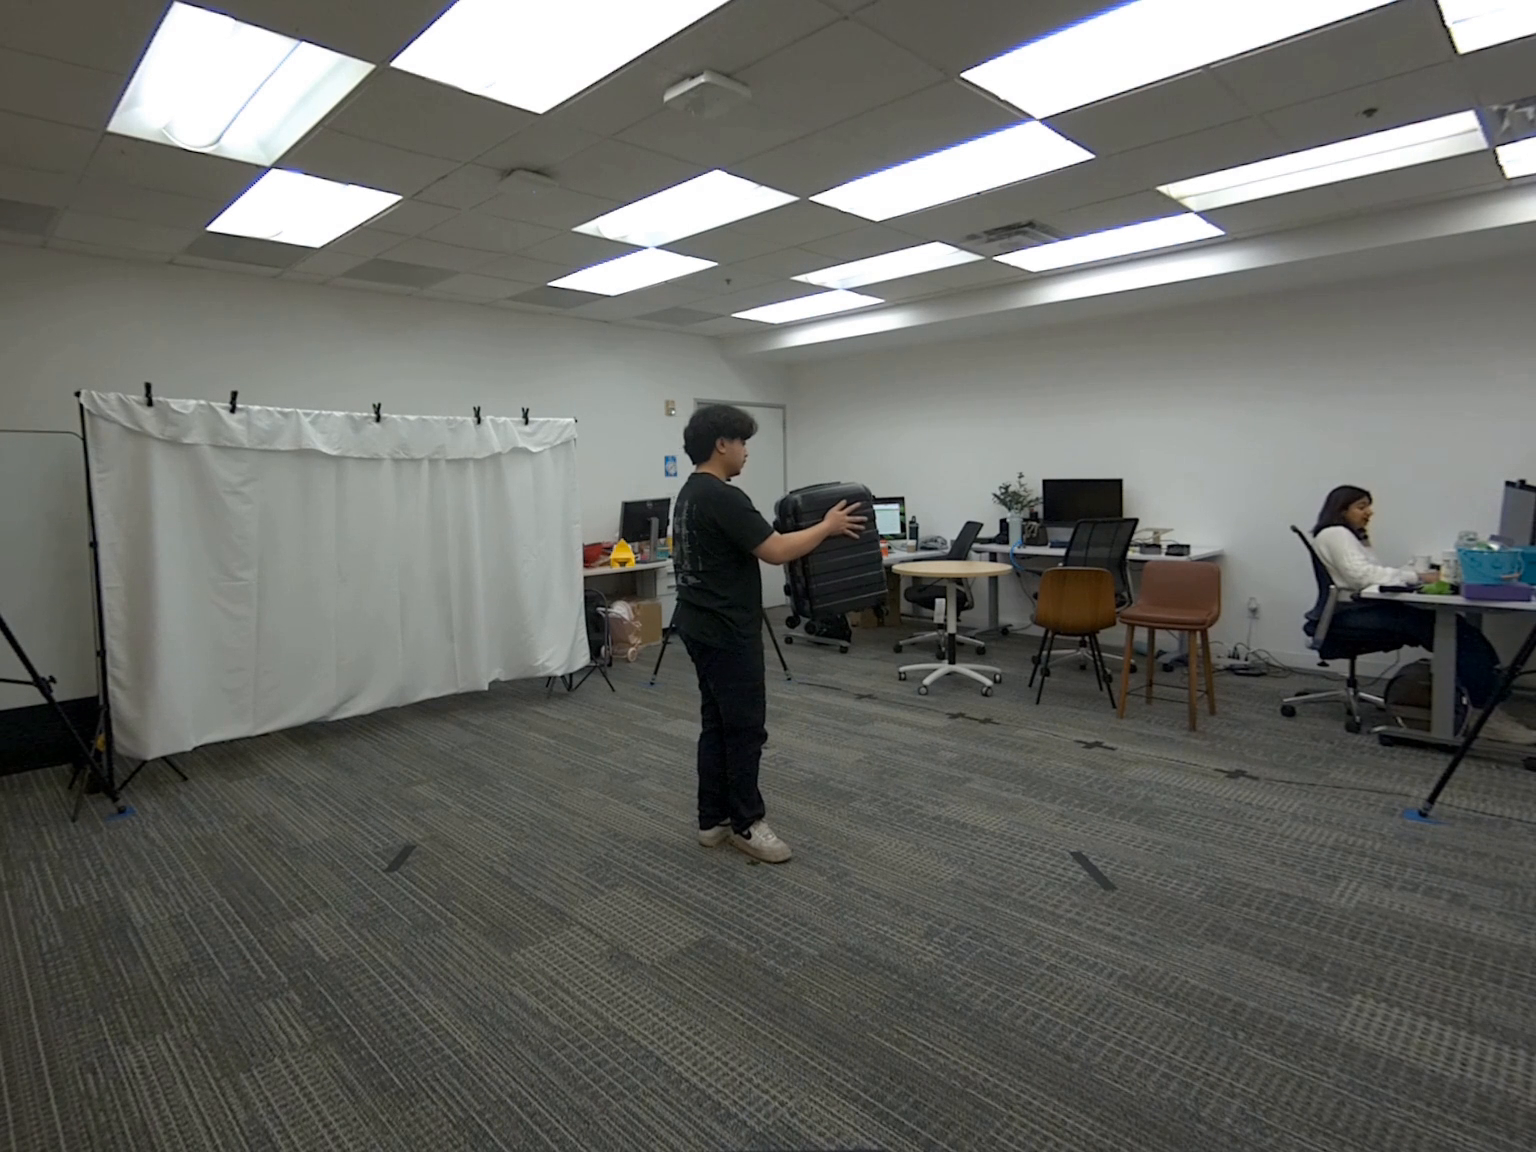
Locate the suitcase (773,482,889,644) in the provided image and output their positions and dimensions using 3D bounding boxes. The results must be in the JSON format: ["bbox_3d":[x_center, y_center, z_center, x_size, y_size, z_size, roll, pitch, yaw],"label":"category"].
[{"bbox_3d":[0.241,-0.088,3.378,0.370,0.547,0.253,-10,5,-19],"label":"suitcase"}]
